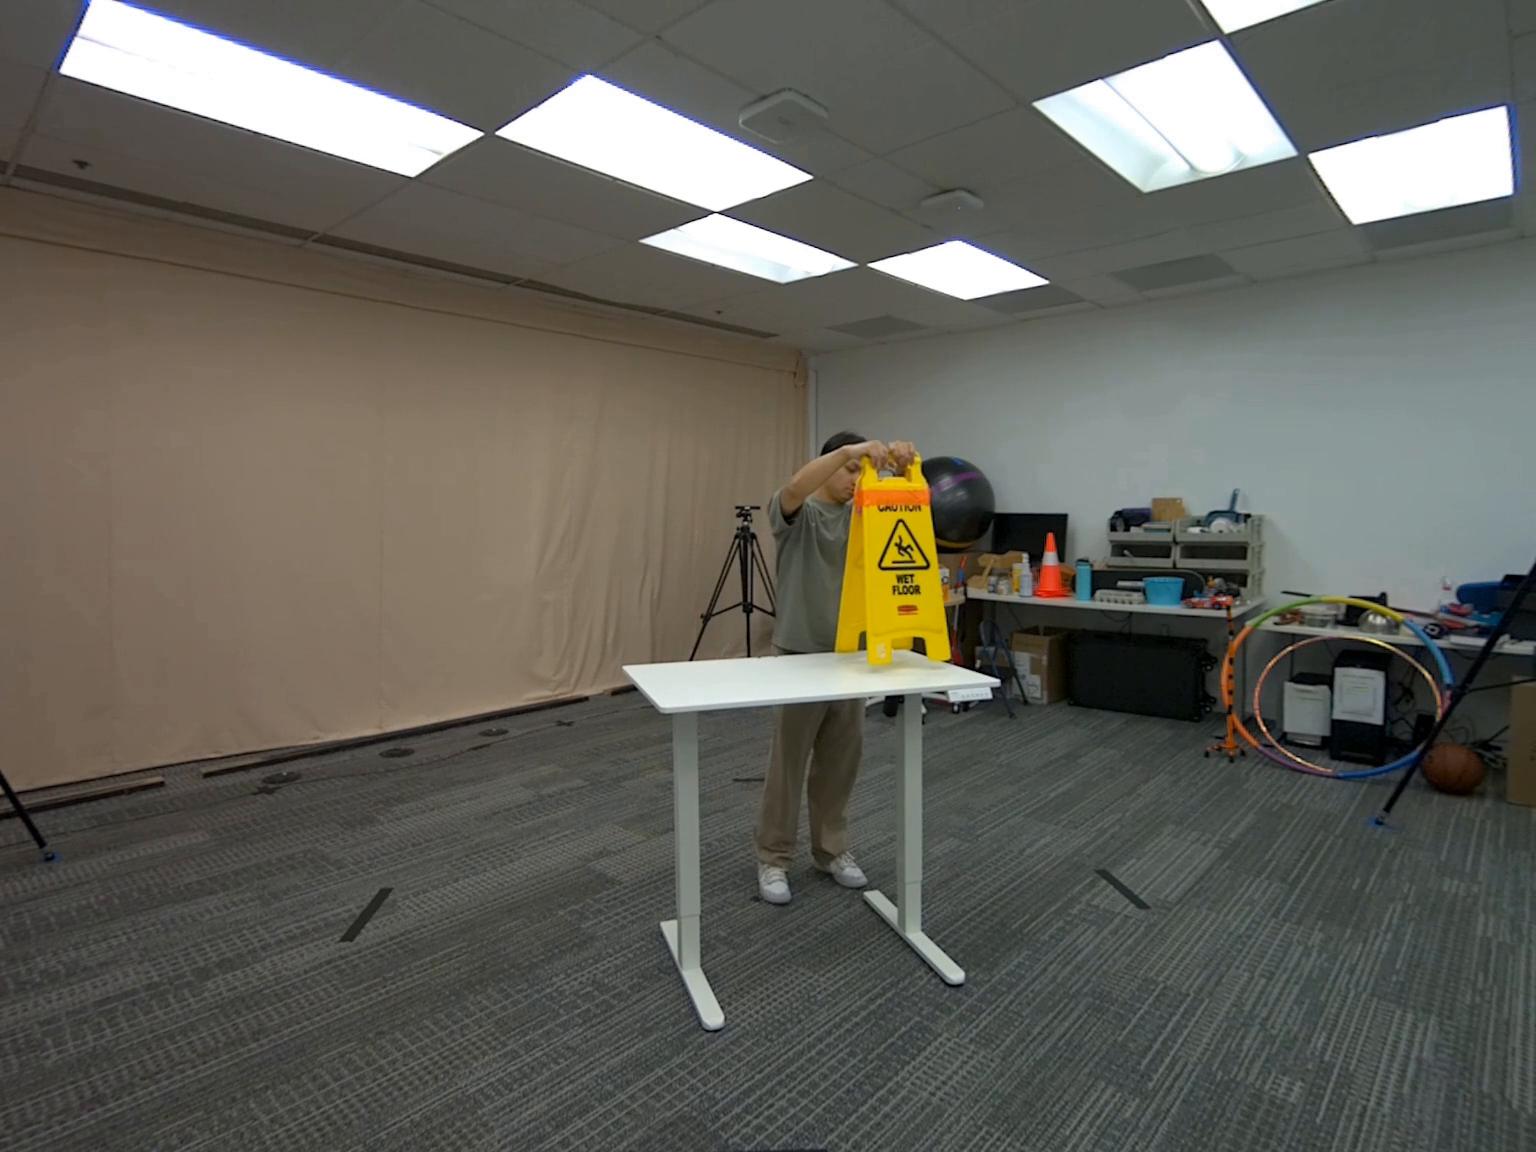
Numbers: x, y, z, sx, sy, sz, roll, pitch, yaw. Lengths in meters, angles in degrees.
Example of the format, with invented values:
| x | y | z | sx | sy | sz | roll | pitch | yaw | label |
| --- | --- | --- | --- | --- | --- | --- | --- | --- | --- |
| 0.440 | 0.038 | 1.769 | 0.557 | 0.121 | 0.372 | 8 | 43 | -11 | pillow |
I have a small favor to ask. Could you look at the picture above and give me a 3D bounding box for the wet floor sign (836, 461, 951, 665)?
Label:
| x | y | z | sx | sy | sz | roll | pitch | yaw | label |
| --- | --- | --- | --- | --- | --- | --- | --- | --- | --- |
| 0.396 | -0.067 | 2.668 | 0.277 | 0.645 | 0.295 | -2 | 3 | -18 | wet floor sign |
